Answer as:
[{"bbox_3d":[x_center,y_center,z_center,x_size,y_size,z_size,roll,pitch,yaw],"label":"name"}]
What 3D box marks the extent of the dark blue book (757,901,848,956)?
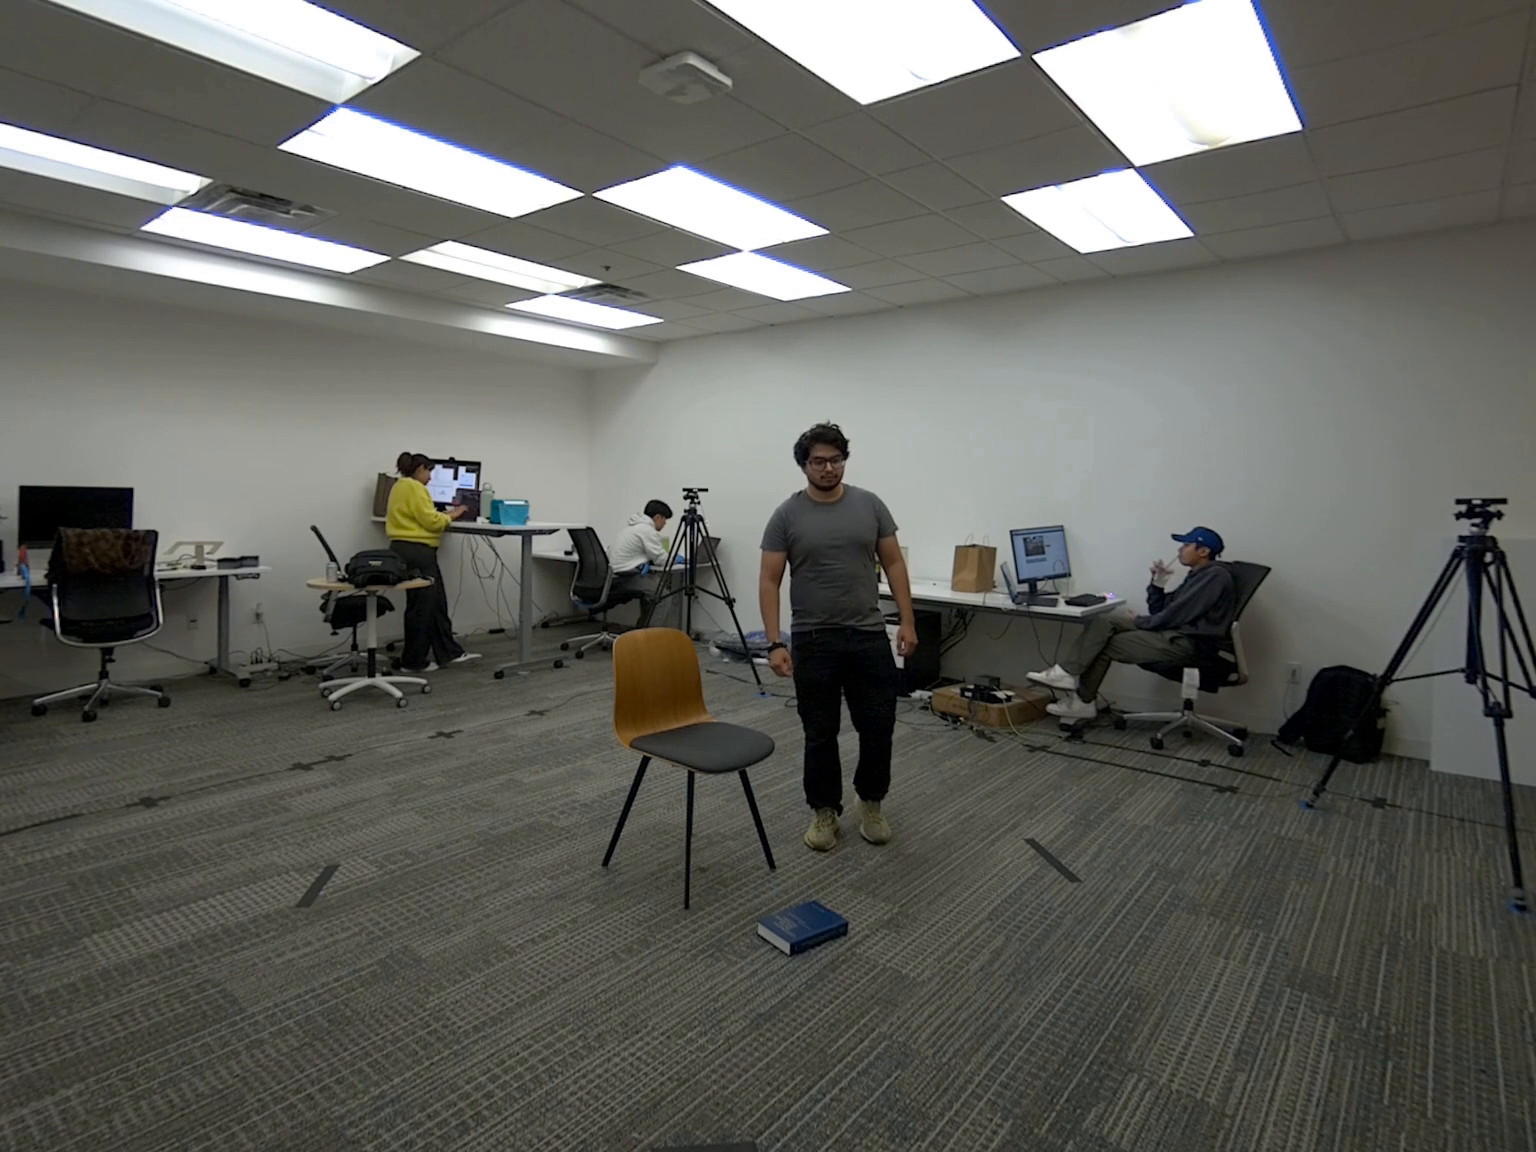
[{"bbox_3d":[0.103,1.093,2.668,0.238,0.045,0.169,-4,8,-38],"label":"dark blue book"}]
